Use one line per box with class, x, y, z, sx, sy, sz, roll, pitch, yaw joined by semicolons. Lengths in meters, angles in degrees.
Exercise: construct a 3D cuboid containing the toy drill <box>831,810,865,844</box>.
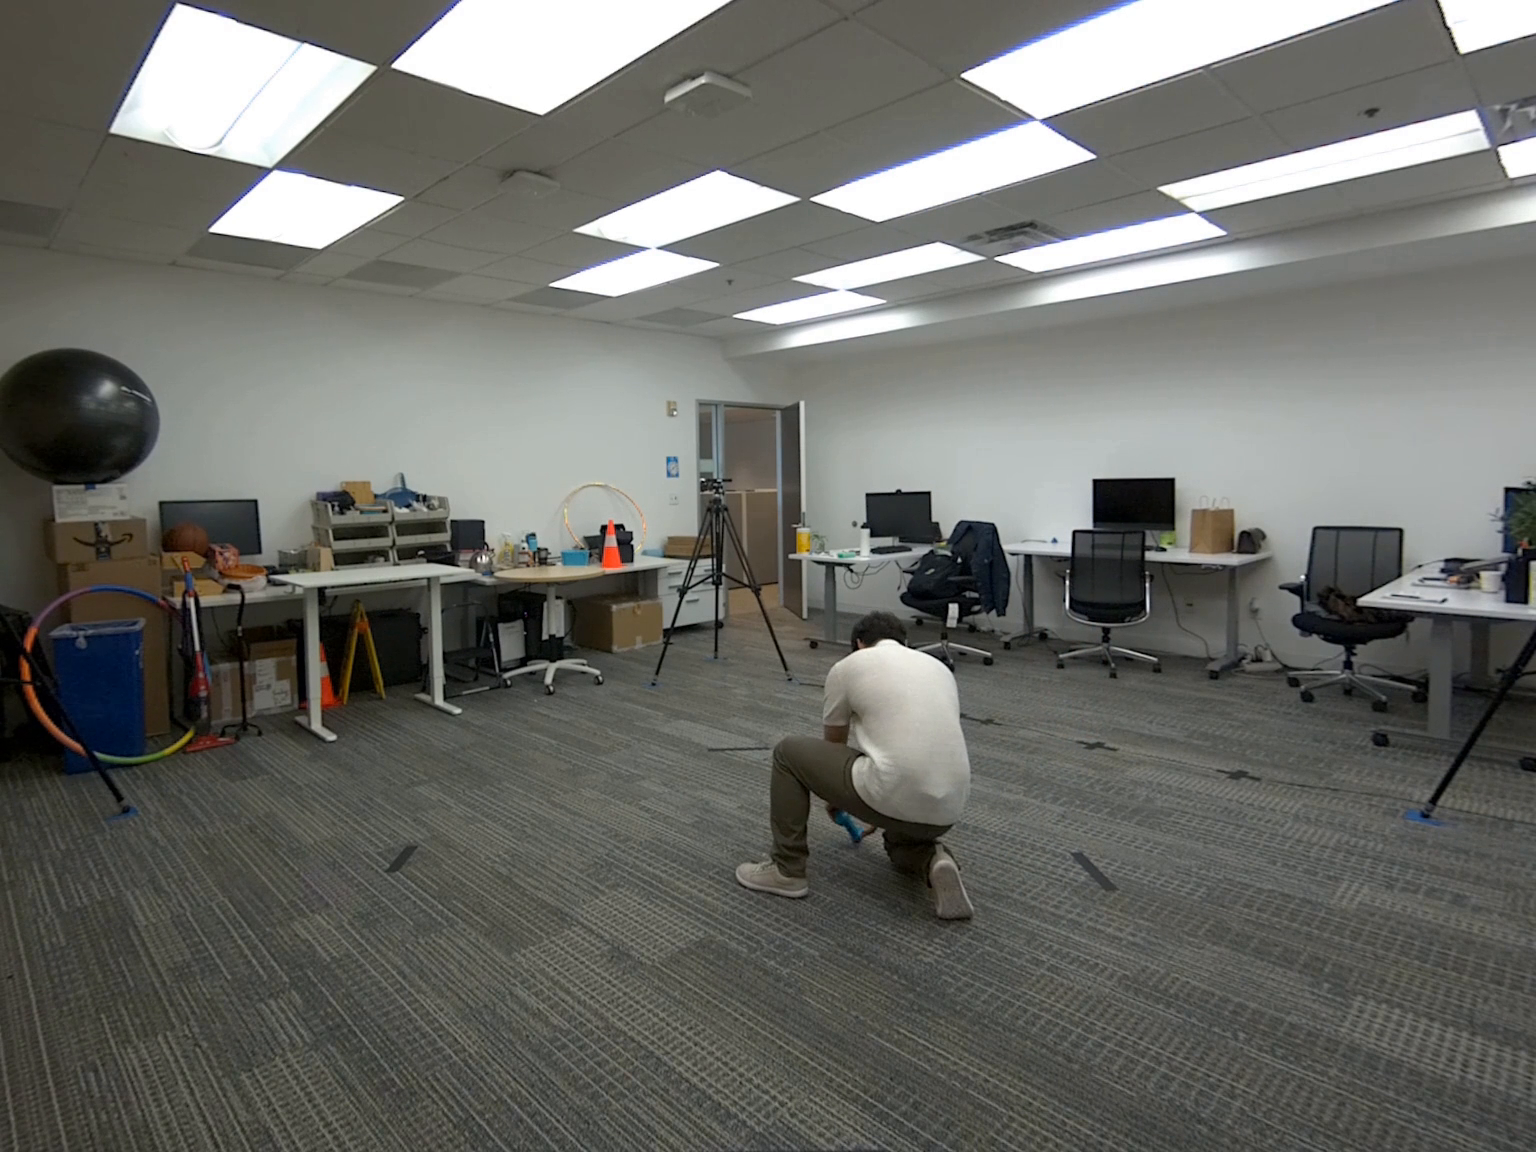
toy drill;0.303;0.925;3.270;0.061;0.144;0.171;-31;13;21
